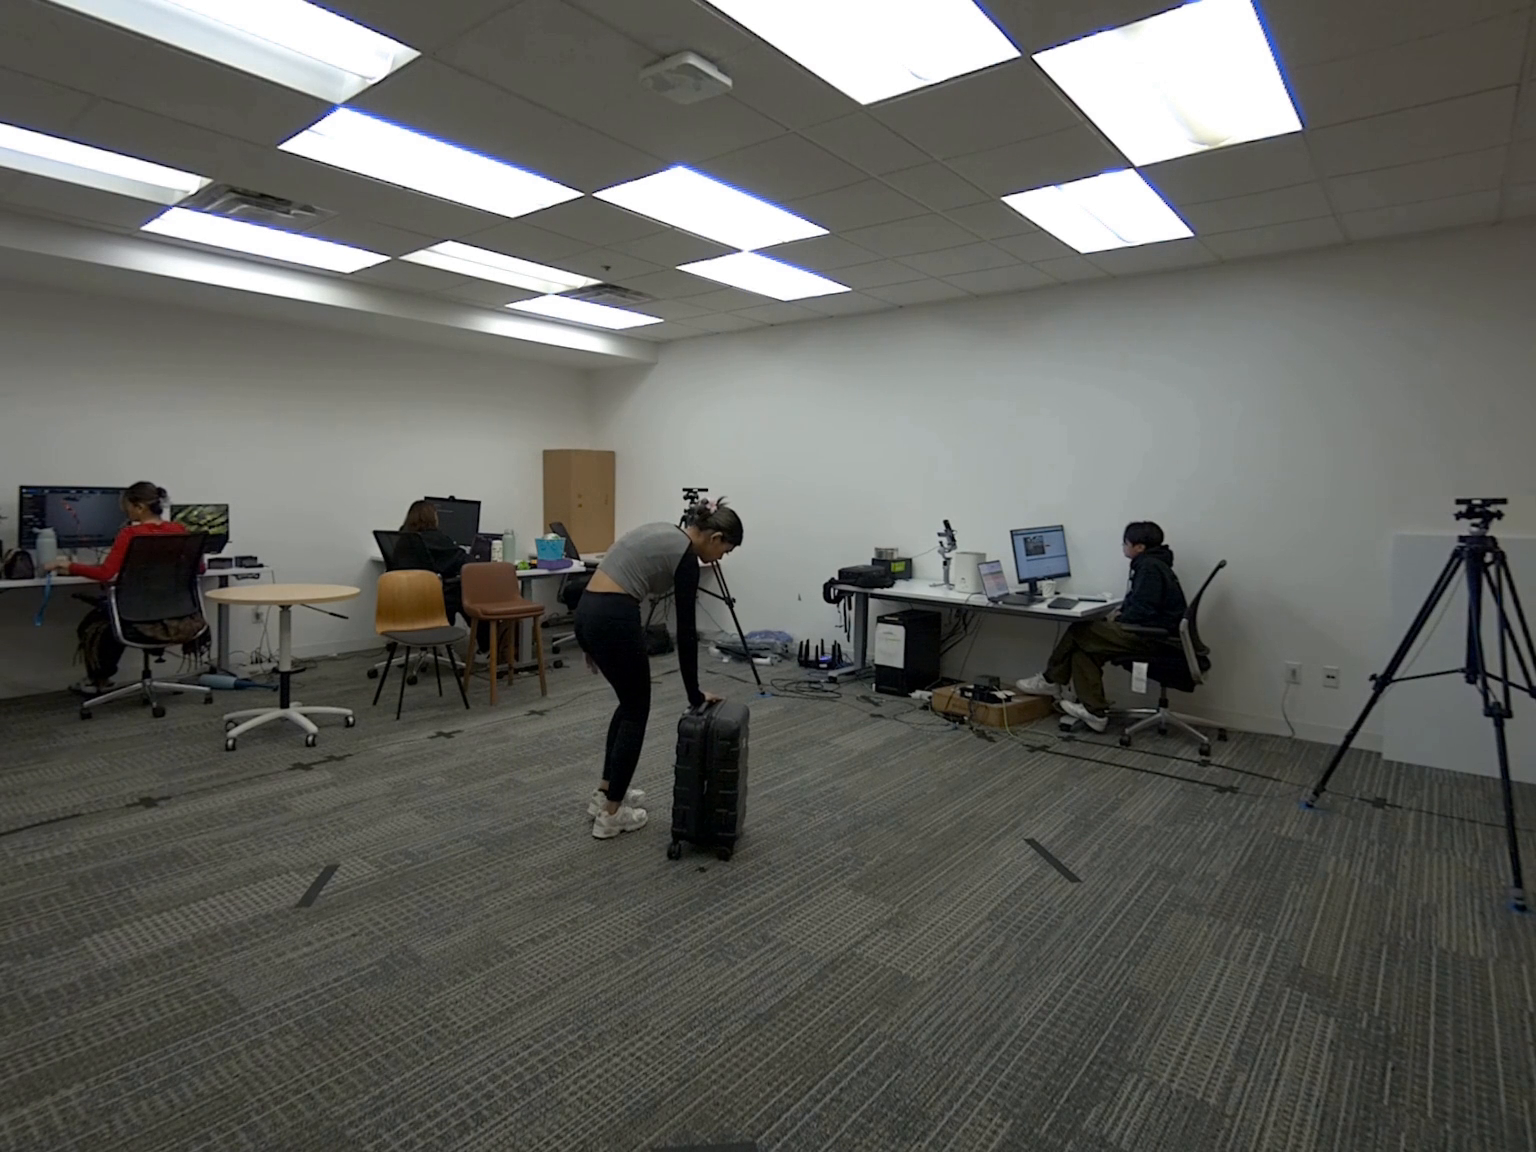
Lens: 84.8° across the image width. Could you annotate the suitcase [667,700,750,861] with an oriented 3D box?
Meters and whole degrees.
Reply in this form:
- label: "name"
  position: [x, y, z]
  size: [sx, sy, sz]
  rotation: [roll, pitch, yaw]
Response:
- label: "suitcase"
  position: [-0.225, 0.772, 3.336]
  size: [0.251, 0.548, 0.372]
  rotation: [5, 3, 8]
